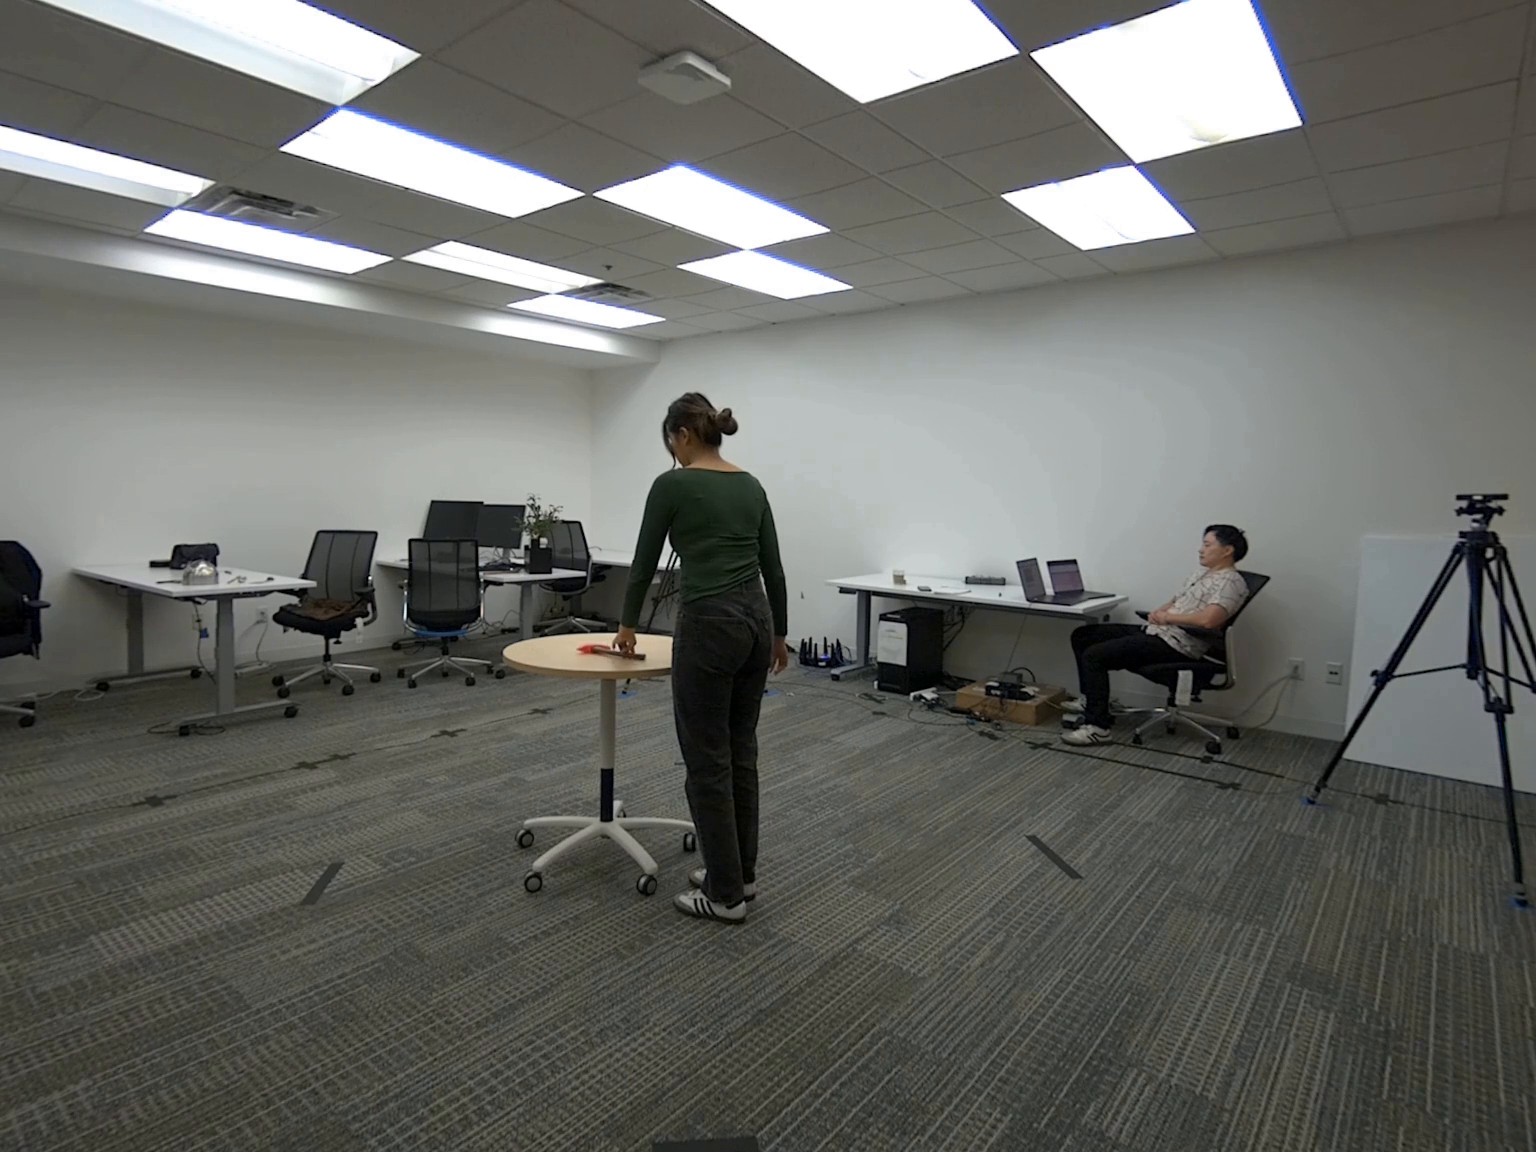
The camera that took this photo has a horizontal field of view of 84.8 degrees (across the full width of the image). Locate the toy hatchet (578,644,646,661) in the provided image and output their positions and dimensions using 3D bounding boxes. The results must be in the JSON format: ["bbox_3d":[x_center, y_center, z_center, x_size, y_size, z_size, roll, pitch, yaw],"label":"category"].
[{"bbox_3d":[-0.565,0.272,3.062,0.275,0.029,0.129,6,4,17],"label":"toy hatchet"}]
